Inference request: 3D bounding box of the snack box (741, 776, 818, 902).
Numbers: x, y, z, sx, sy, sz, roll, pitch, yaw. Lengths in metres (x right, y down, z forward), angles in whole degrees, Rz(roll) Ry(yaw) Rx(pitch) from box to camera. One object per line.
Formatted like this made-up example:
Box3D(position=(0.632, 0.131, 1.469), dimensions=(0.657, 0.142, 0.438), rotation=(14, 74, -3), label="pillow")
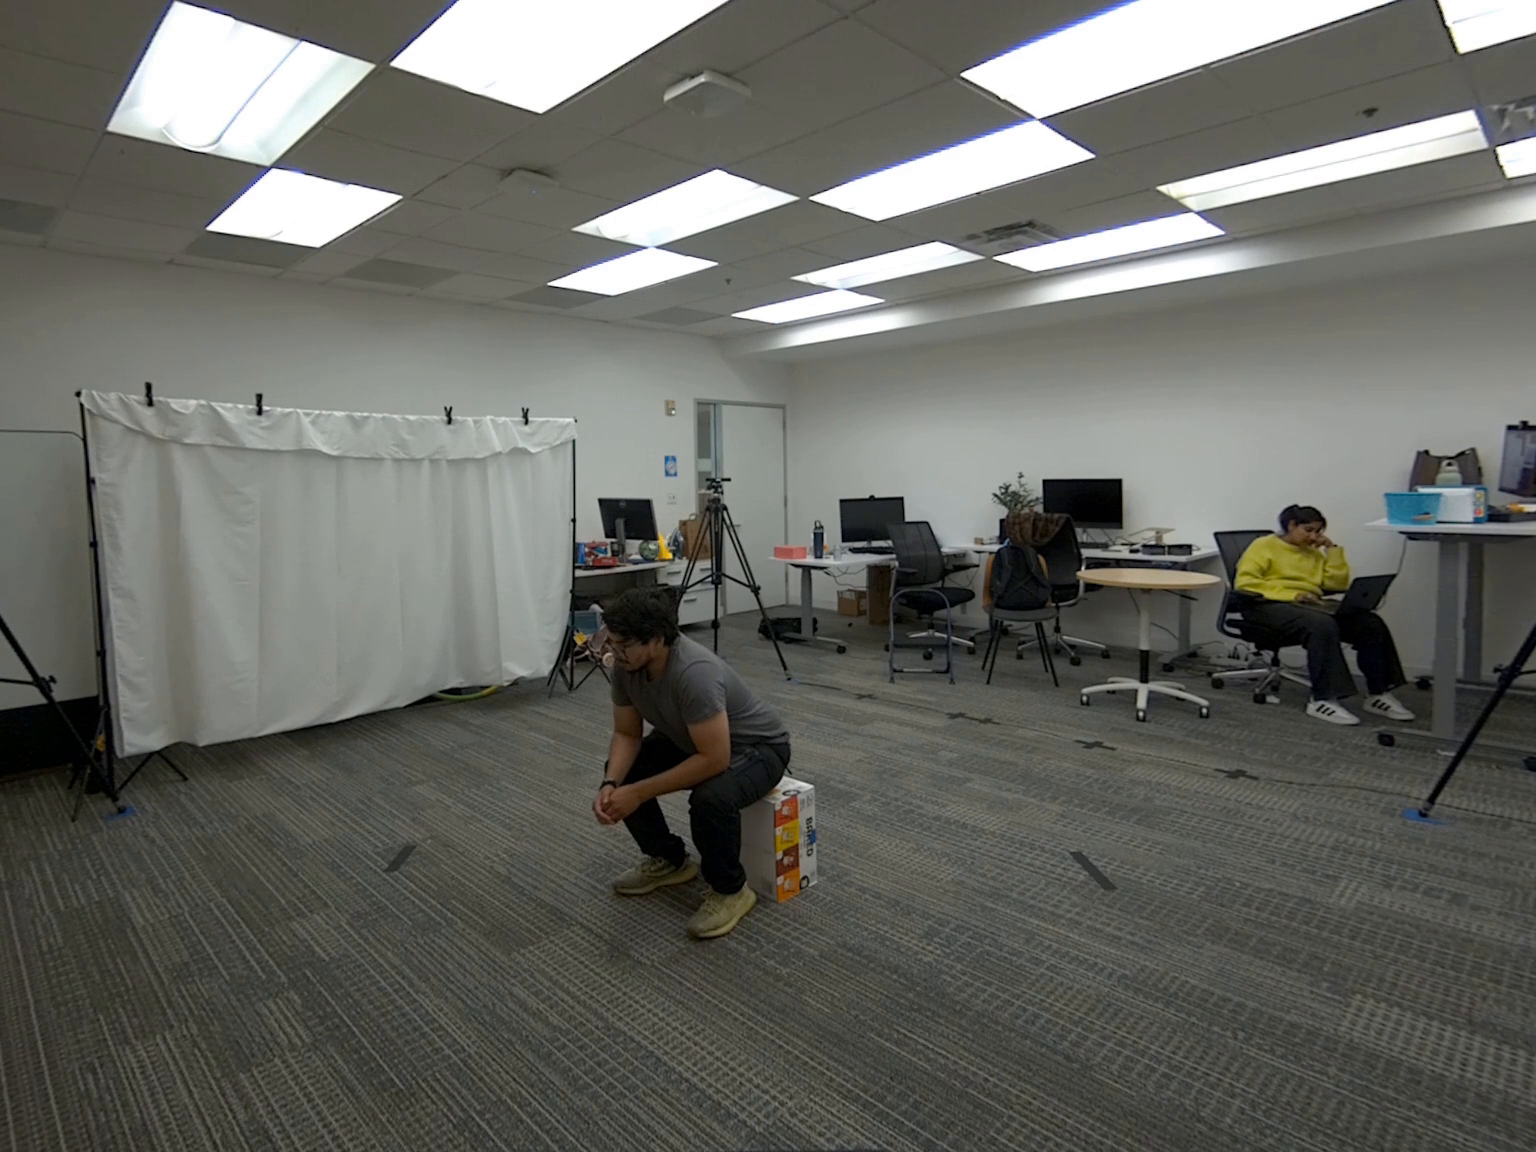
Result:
Box3D(position=(-0.043, 0.886, 3.017), dimensions=(0.200, 0.339, 0.417), rotation=(-6, 7, -44), label="snack box")
